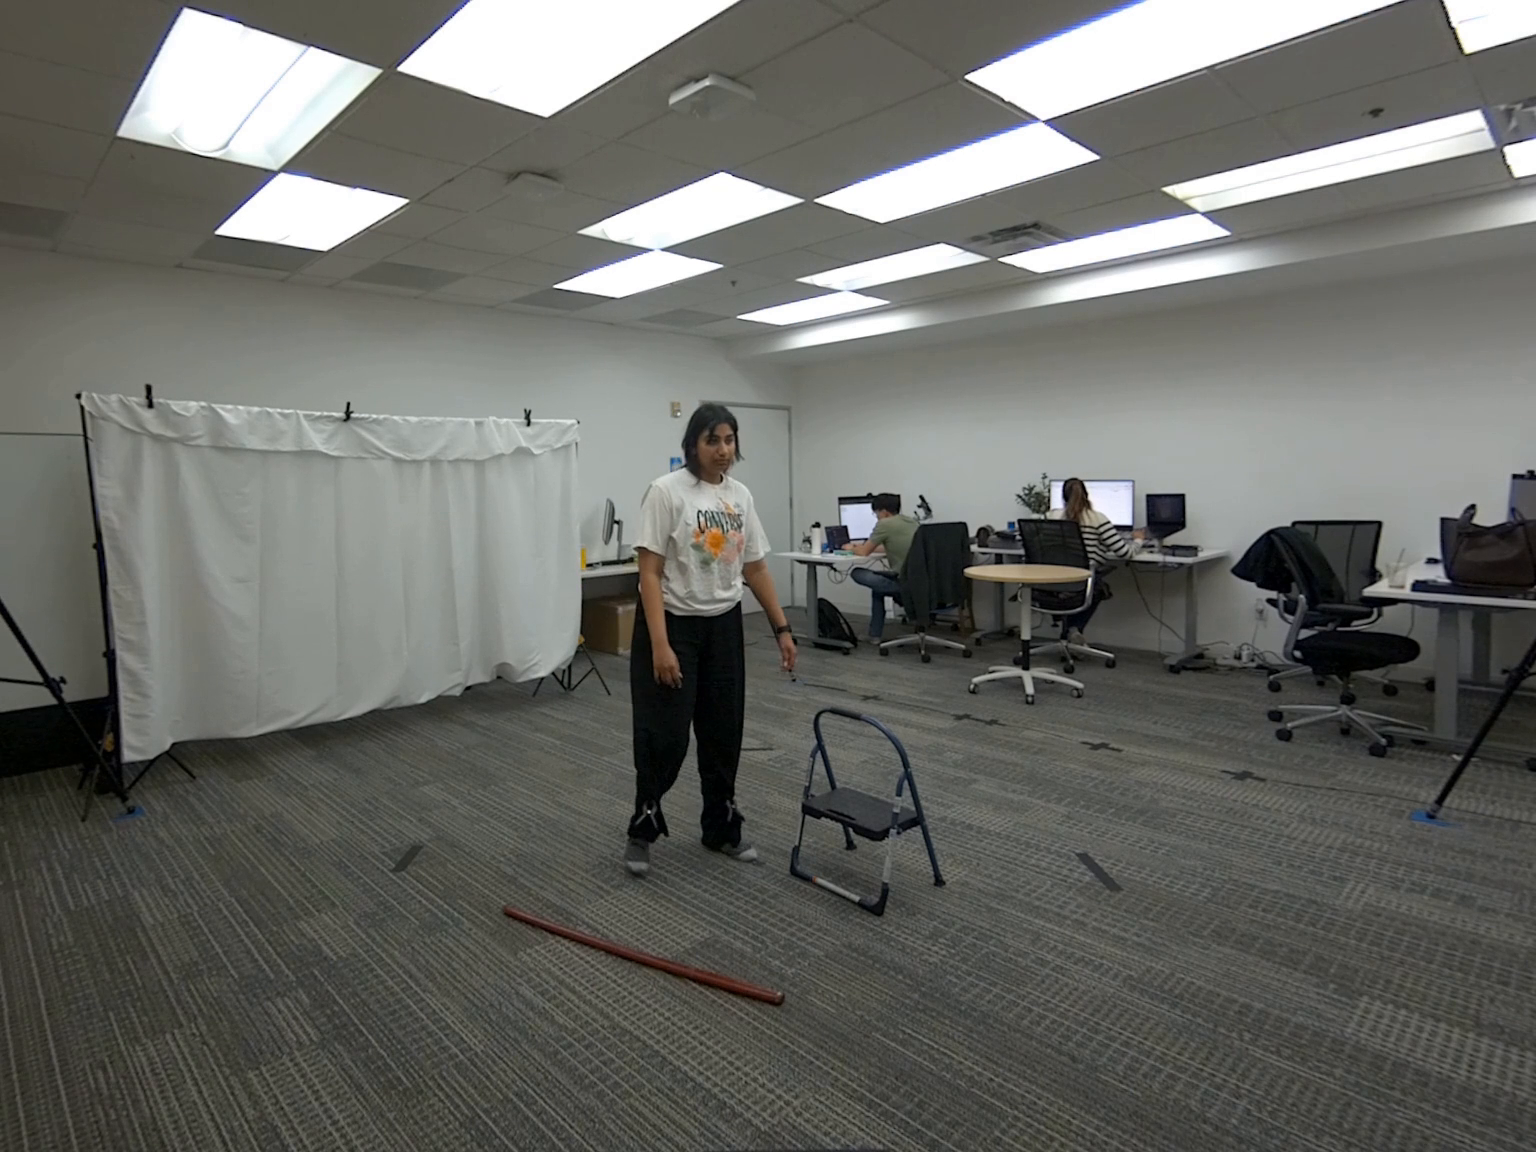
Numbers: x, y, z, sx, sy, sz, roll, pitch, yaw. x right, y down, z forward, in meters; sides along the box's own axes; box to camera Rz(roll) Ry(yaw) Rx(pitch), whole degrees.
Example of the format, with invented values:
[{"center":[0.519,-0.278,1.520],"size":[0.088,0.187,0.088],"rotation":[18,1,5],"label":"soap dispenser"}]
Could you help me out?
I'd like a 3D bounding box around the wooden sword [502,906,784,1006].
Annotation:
[{"center":[-0.404,1.096,2.536],"size":[1.052,0.024,0.050],"rotation":[3,-3,31],"label":"wooden sword"}]
